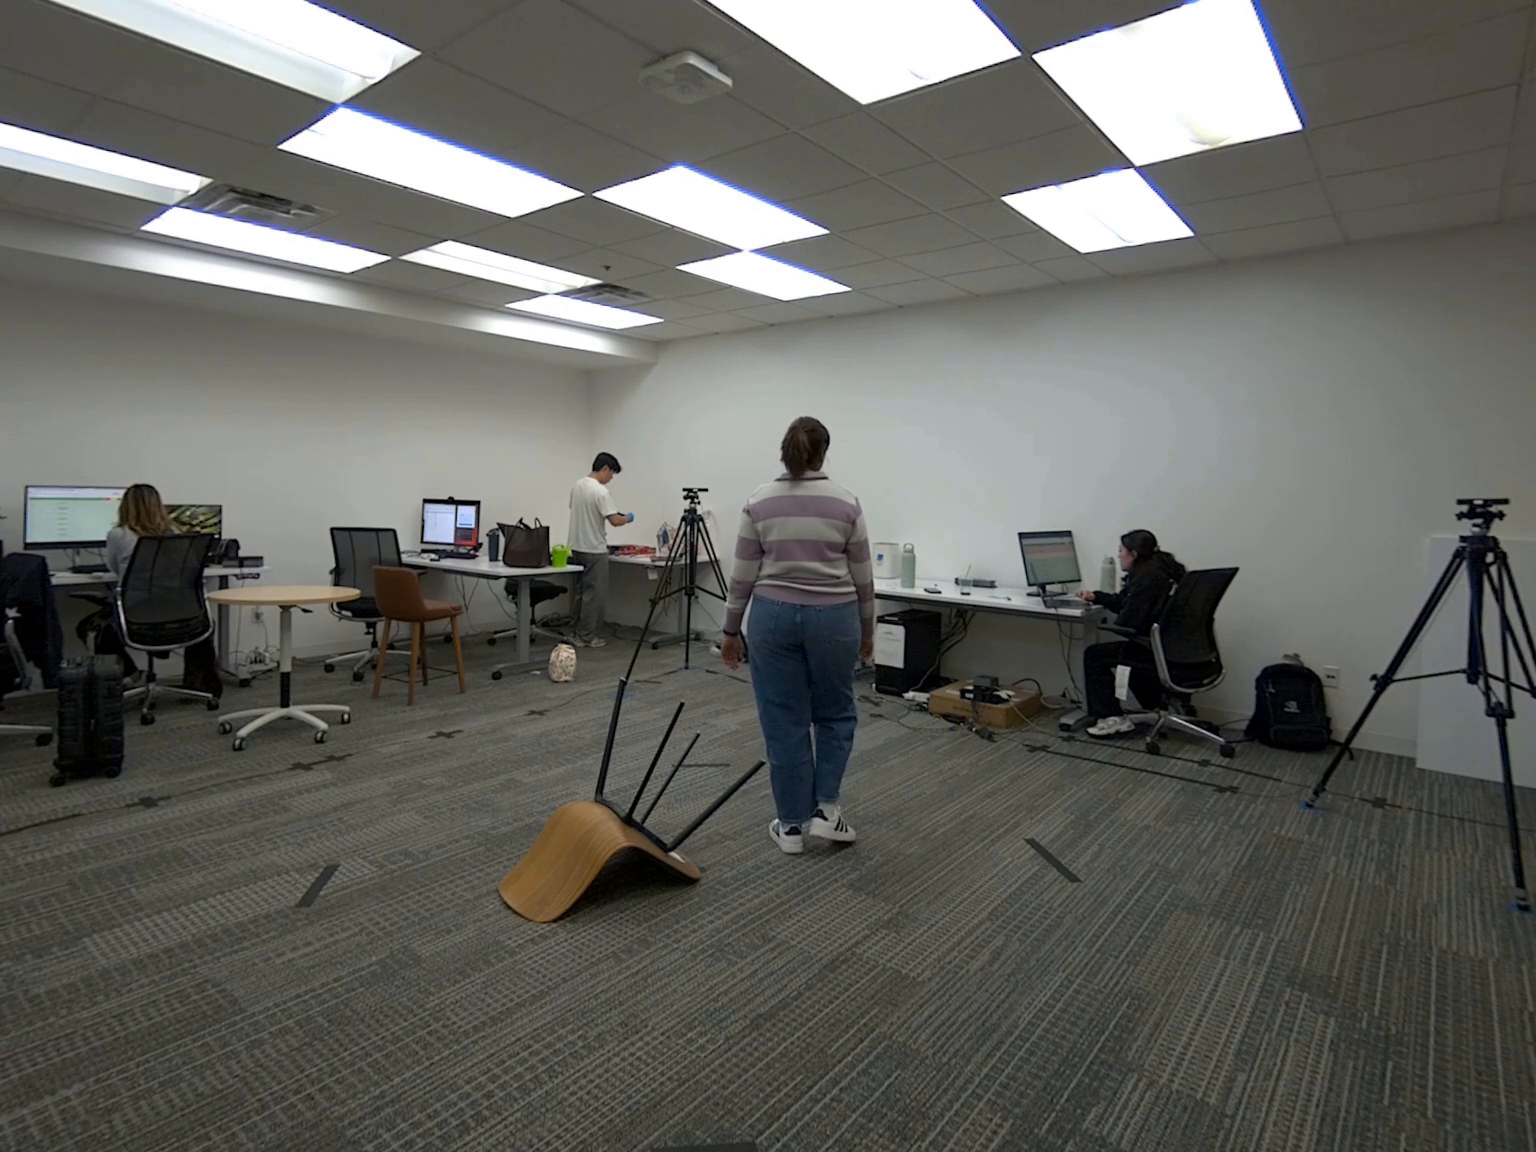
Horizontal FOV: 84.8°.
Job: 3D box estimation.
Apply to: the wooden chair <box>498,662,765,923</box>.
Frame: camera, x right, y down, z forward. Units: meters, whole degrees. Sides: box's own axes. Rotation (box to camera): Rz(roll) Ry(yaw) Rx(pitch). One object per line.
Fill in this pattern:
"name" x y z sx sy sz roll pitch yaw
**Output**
"wooden chair" -0.494 0.898 3.074 0.505 0.880 0.494 46 -23 -30
